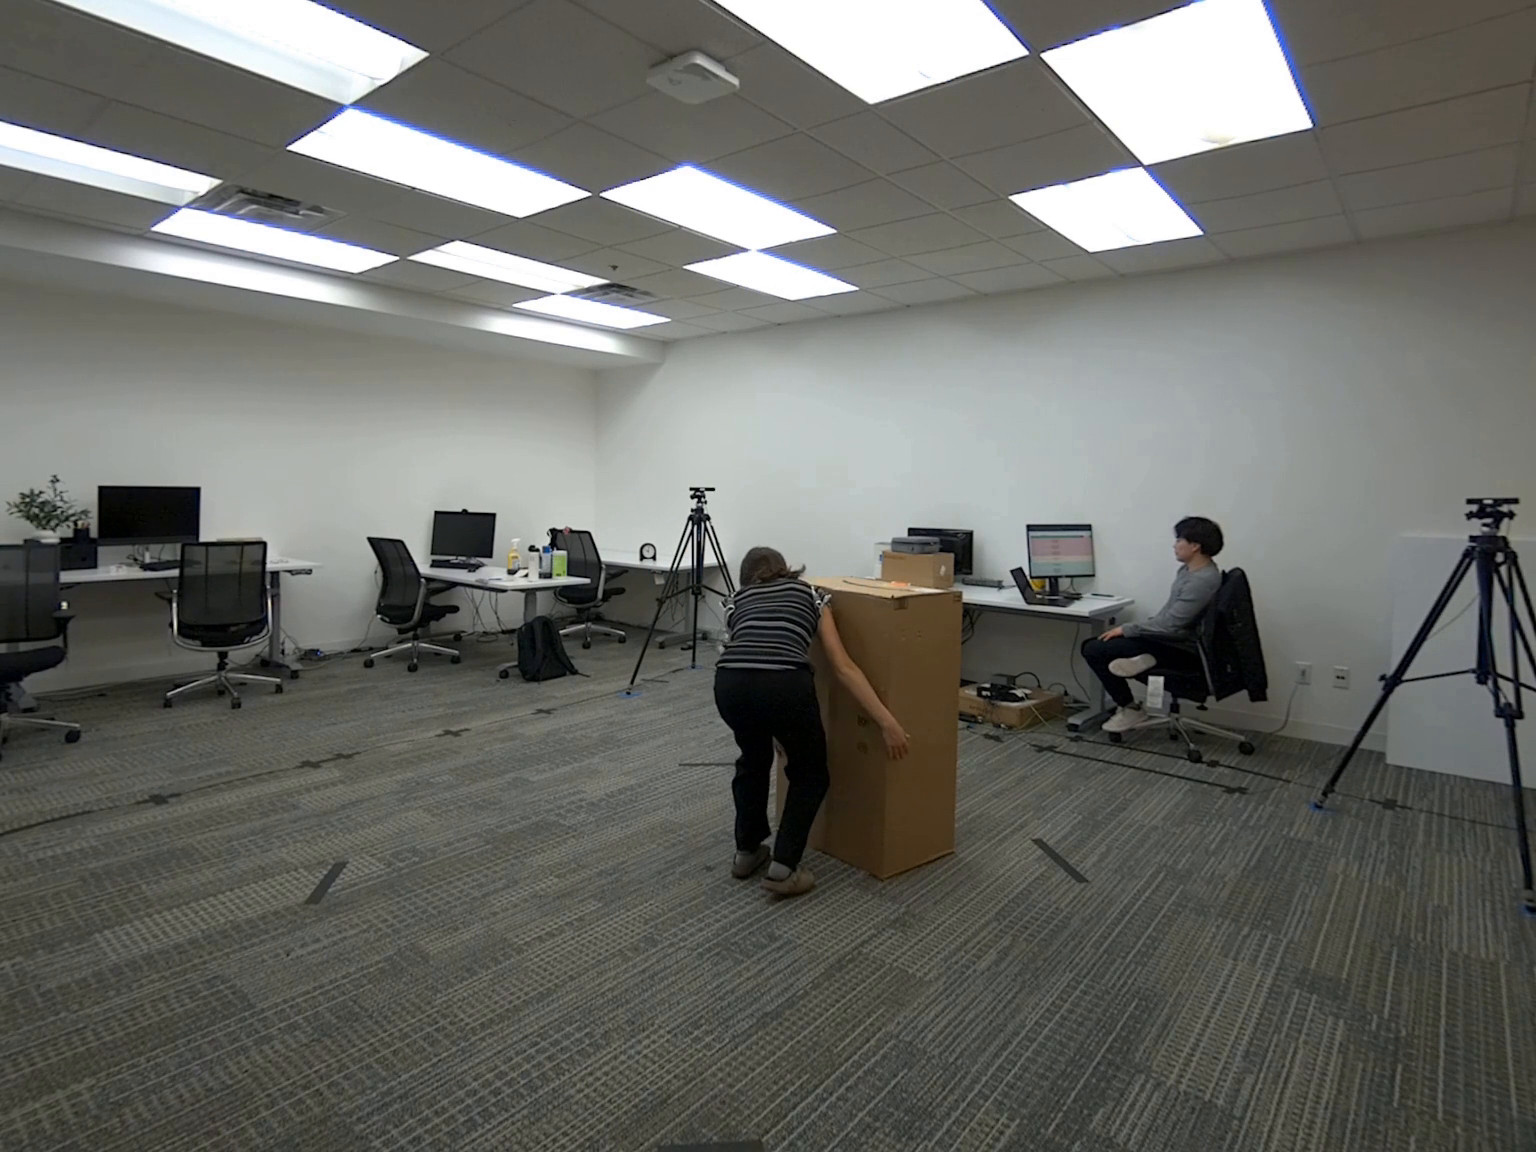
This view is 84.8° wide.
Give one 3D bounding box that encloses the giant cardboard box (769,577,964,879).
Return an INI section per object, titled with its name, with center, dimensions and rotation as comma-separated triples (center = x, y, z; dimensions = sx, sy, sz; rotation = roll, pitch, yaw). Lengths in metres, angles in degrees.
[giant cardboard box]
center = 0.385, 0.545, 3.377
dimensions = 0.413, 1.023, 0.597
rotation = -1, 4, -41
